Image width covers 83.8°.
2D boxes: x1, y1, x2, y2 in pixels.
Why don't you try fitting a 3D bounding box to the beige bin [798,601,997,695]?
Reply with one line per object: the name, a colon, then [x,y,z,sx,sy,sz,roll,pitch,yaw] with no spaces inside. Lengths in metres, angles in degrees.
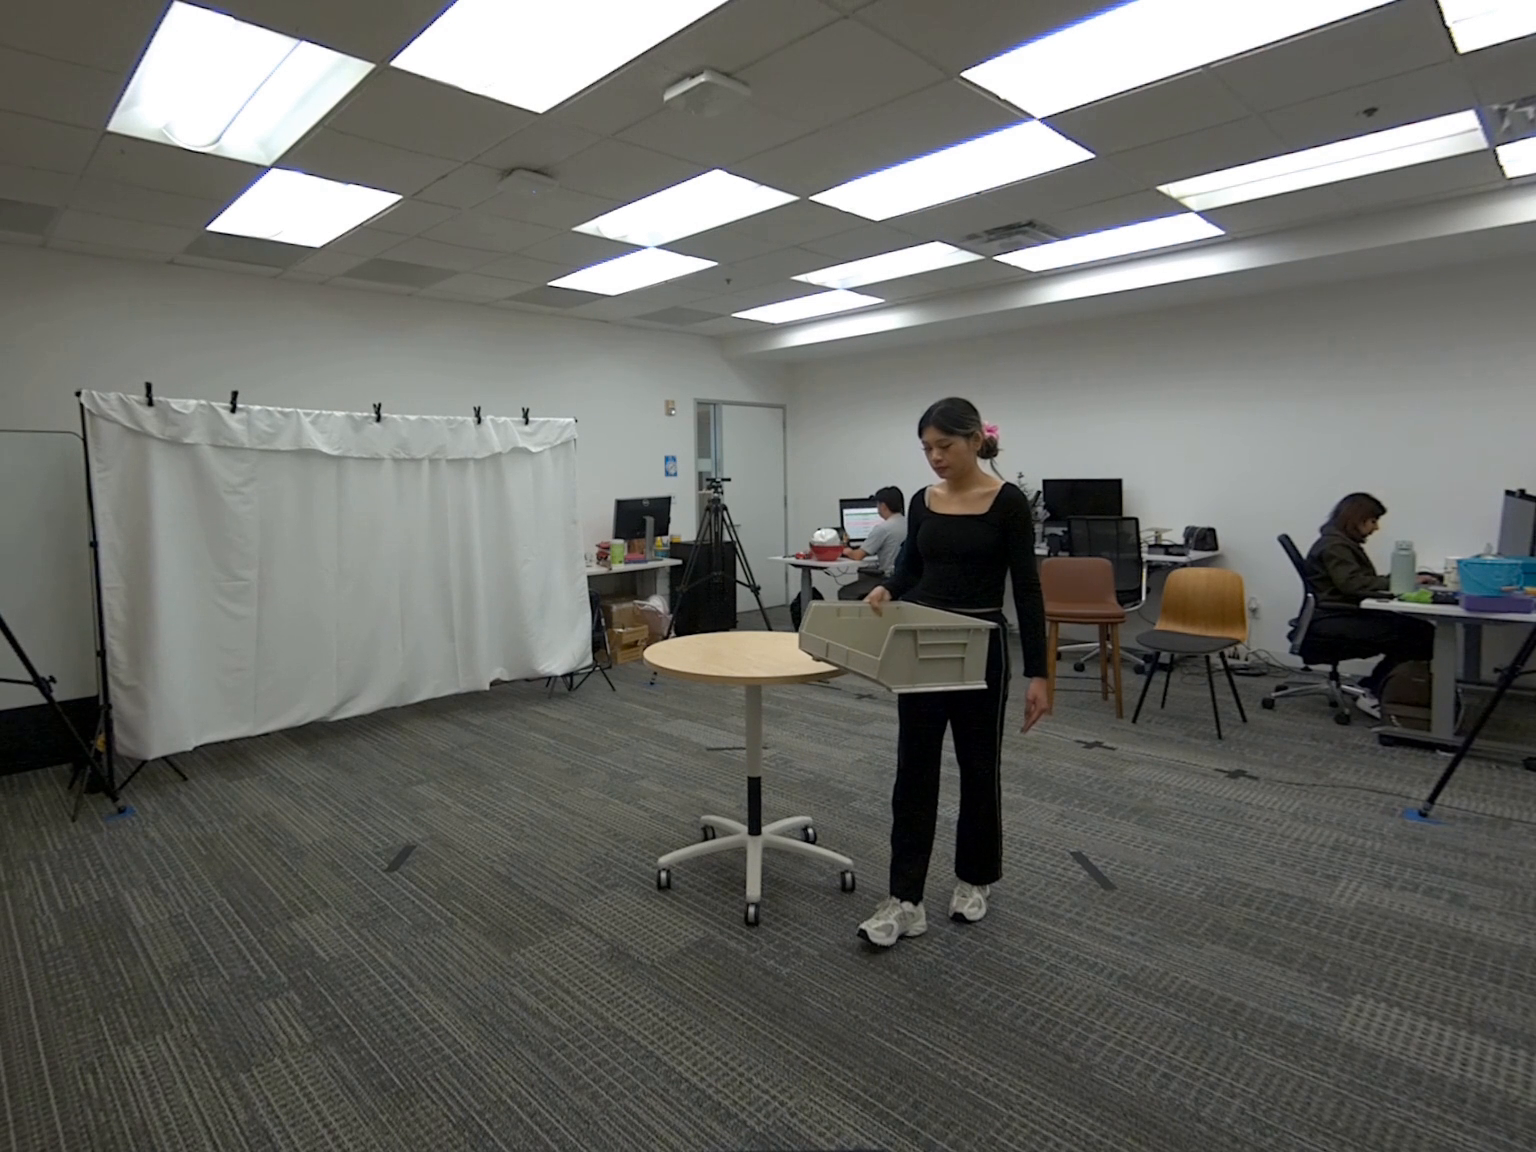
beige bin: [0.346,0.187,2.429,0.368,0.188,0.434,3,6,-26]
